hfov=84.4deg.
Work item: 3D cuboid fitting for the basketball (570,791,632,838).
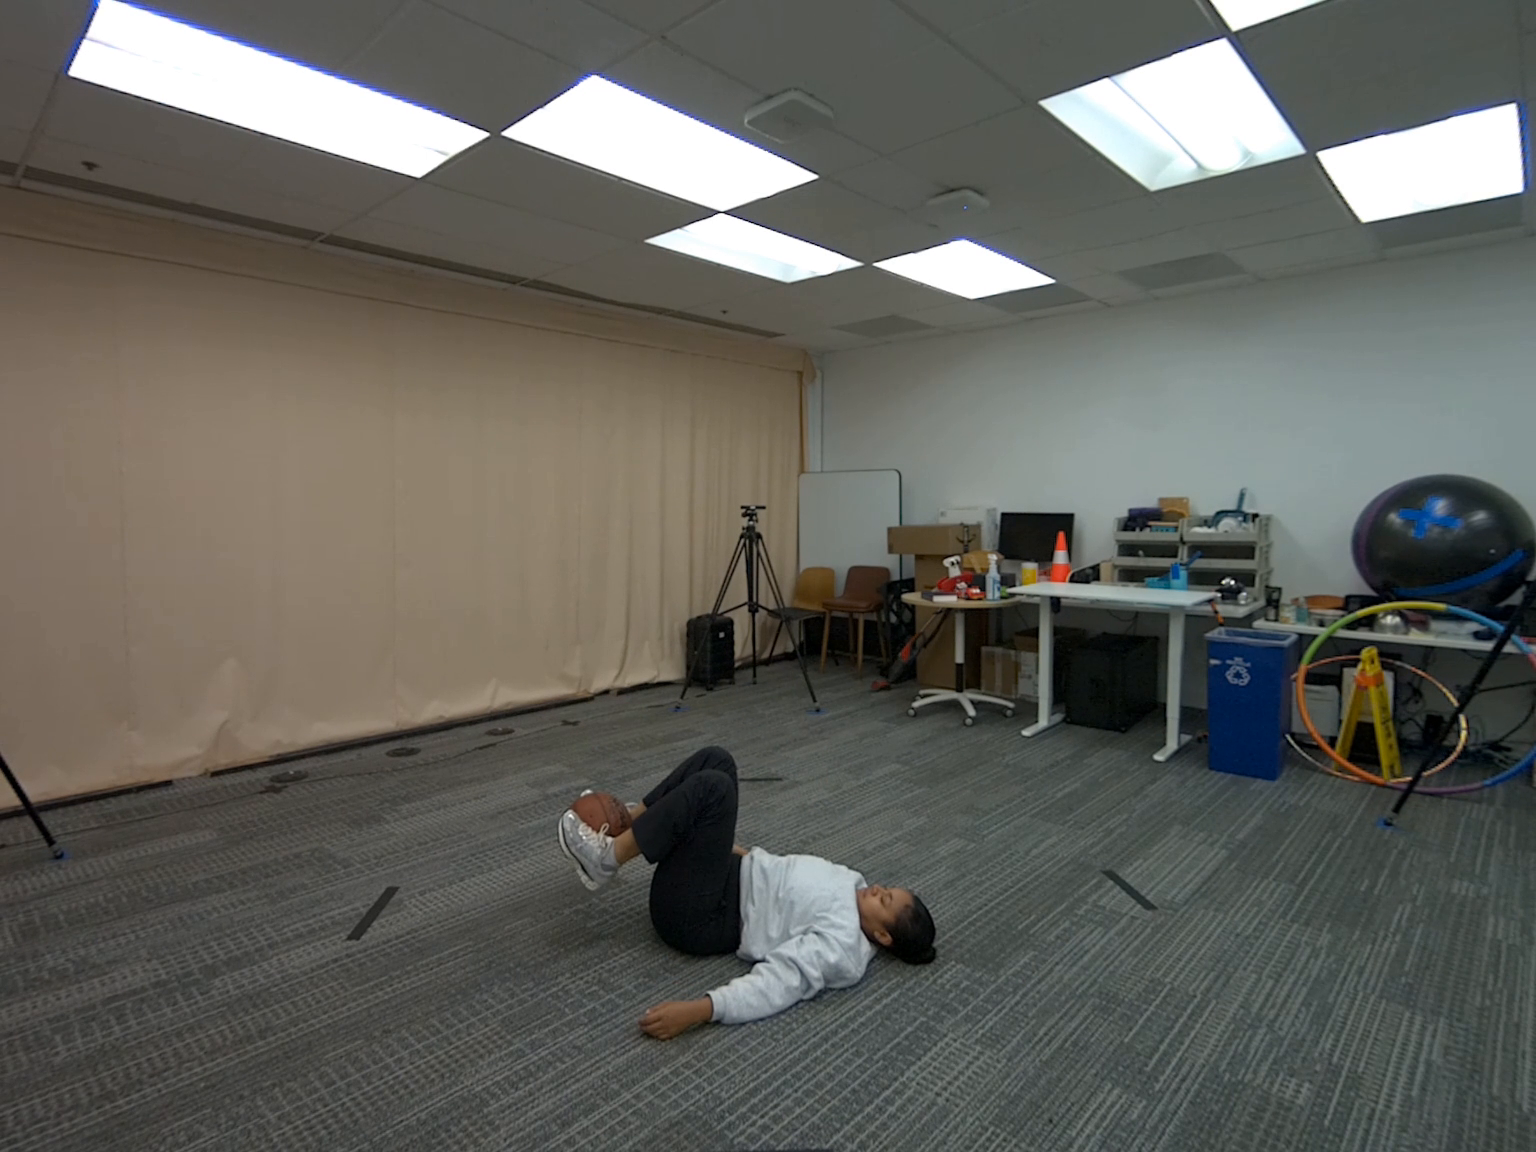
[{"bbox_3d":[-0.558,0.833,2.779,0.236,0.236,0.236,2,0,-2],"label":"basketball"}]
